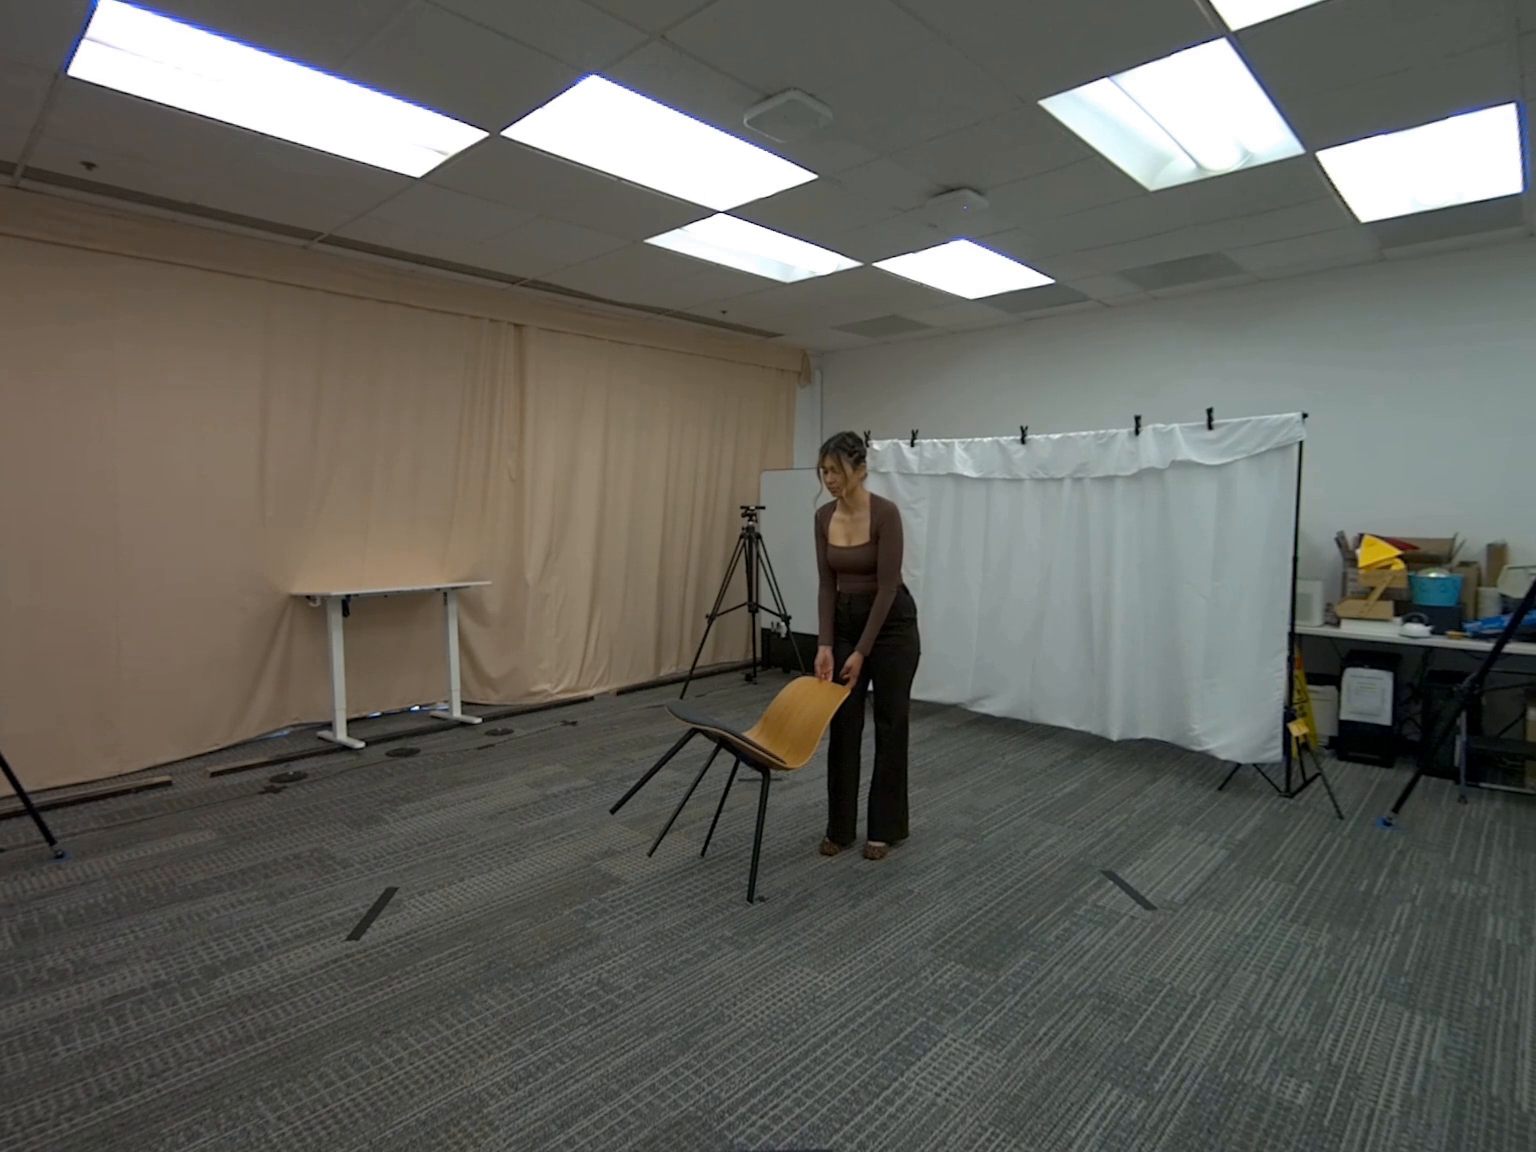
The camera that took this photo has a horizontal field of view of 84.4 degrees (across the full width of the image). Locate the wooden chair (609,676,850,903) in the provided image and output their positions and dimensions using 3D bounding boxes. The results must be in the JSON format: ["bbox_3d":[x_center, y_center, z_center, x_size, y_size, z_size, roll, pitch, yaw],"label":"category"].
[{"bbox_3d":[-0.127,0.645,3.126,0.510,0.876,0.491,37,-12,-23],"label":"wooden chair"}]
